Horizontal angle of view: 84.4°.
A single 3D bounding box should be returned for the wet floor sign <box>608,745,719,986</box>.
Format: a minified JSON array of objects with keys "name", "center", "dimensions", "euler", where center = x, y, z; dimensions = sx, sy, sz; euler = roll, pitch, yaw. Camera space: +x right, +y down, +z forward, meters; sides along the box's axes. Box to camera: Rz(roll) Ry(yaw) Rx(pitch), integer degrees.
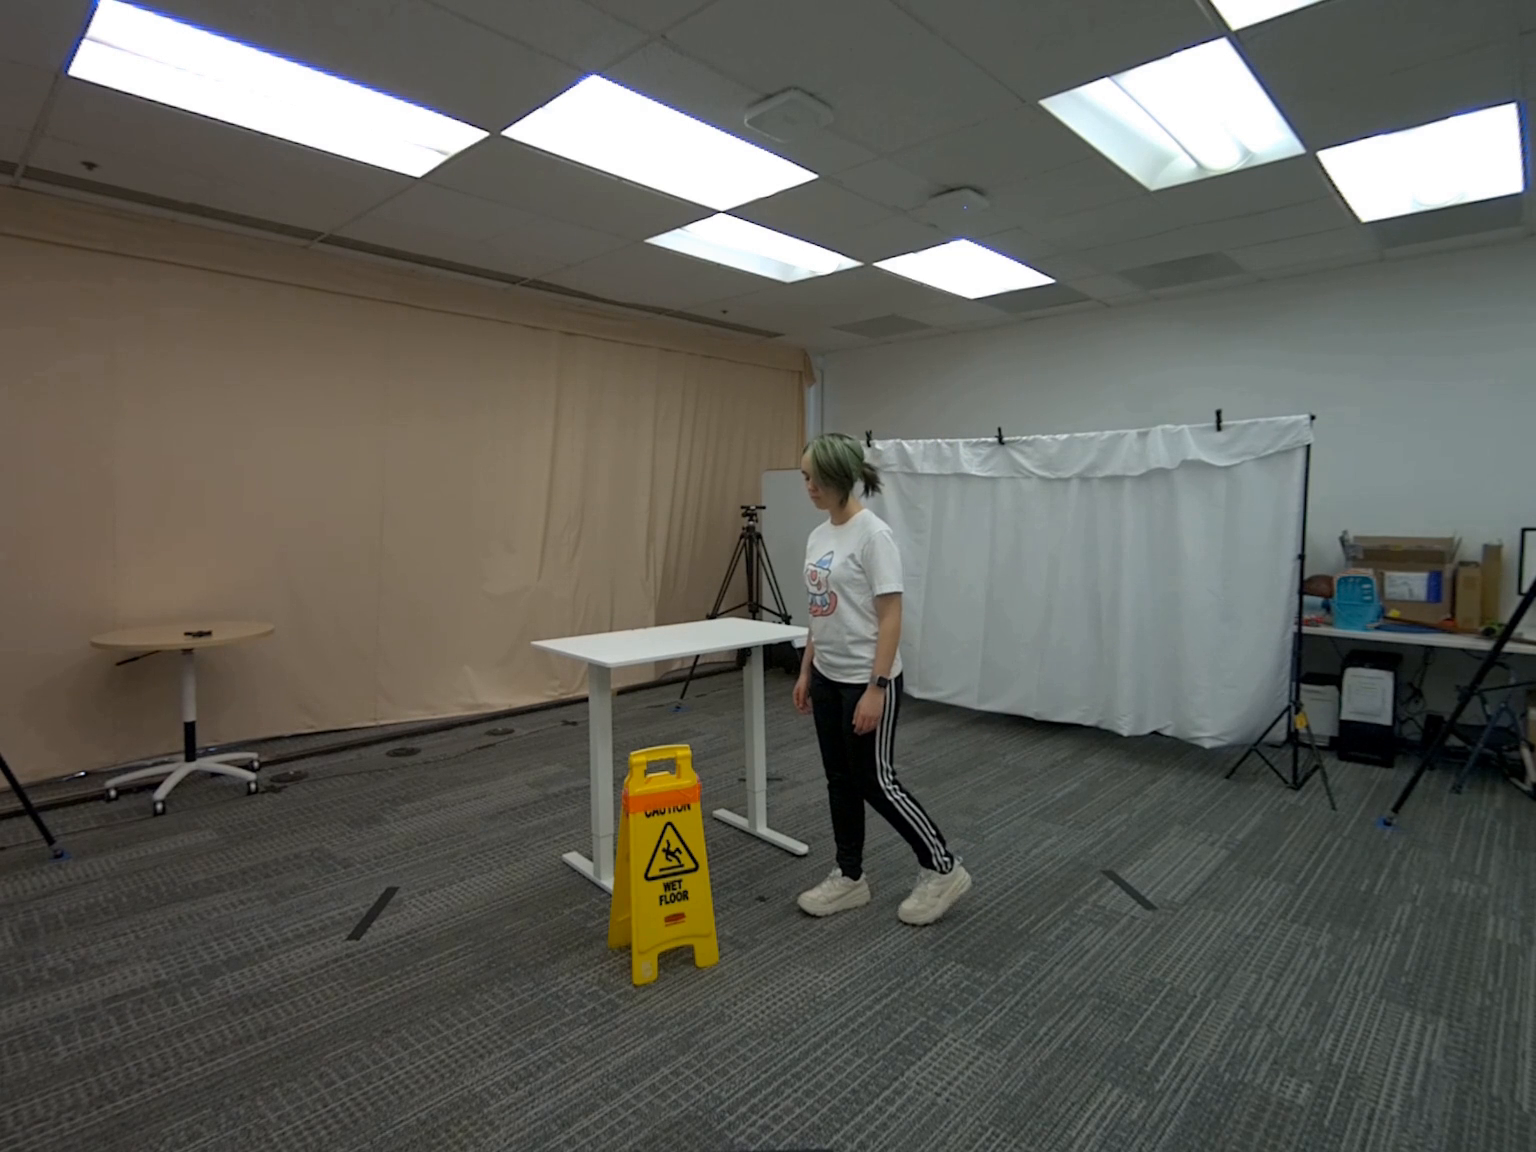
[{"name":"wet floor sign","center":[-0.333,0.855,2.594],"dimensions":[0.275,0.644,0.298],"euler":[-3,5,-27]}]
